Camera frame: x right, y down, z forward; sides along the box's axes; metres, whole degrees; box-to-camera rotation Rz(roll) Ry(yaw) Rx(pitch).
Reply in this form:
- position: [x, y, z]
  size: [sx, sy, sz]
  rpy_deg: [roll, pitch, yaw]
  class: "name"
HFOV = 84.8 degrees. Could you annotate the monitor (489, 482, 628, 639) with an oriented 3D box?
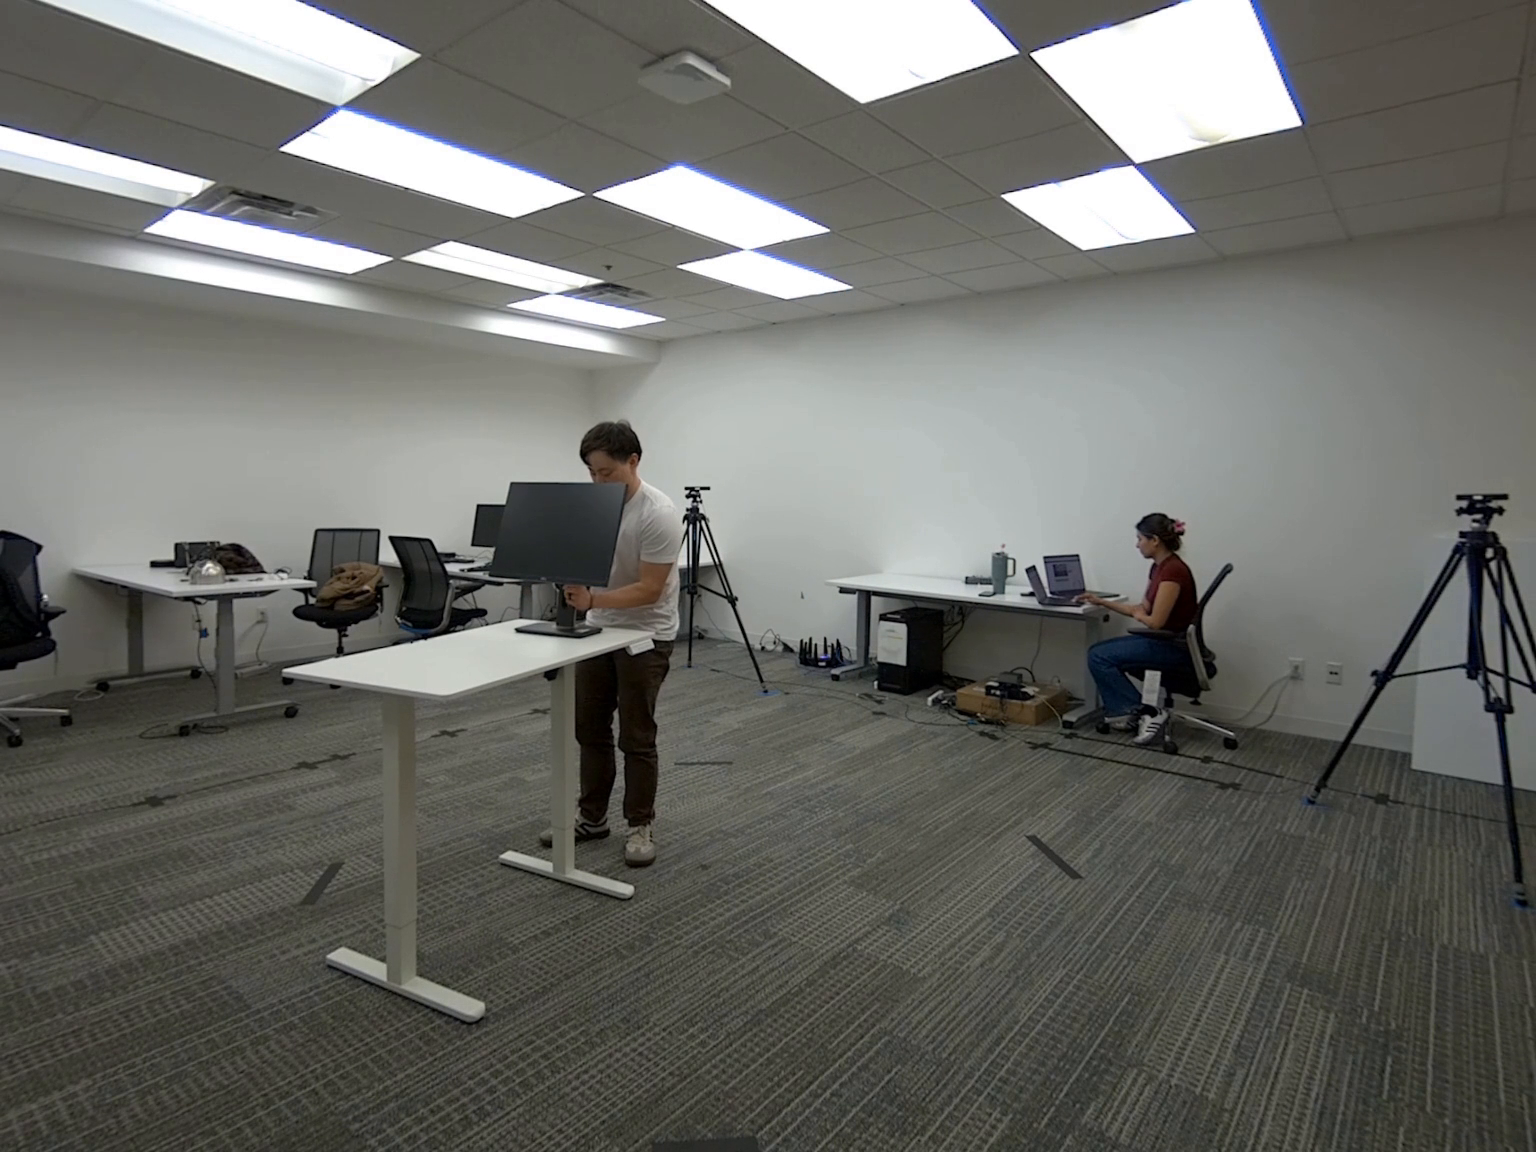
- position: [-0.726, -0.065, 2.937]
  size: [0.554, 0.522, 0.182]
  rpy_deg: [3, 1, 28]
  class: "monitor"
